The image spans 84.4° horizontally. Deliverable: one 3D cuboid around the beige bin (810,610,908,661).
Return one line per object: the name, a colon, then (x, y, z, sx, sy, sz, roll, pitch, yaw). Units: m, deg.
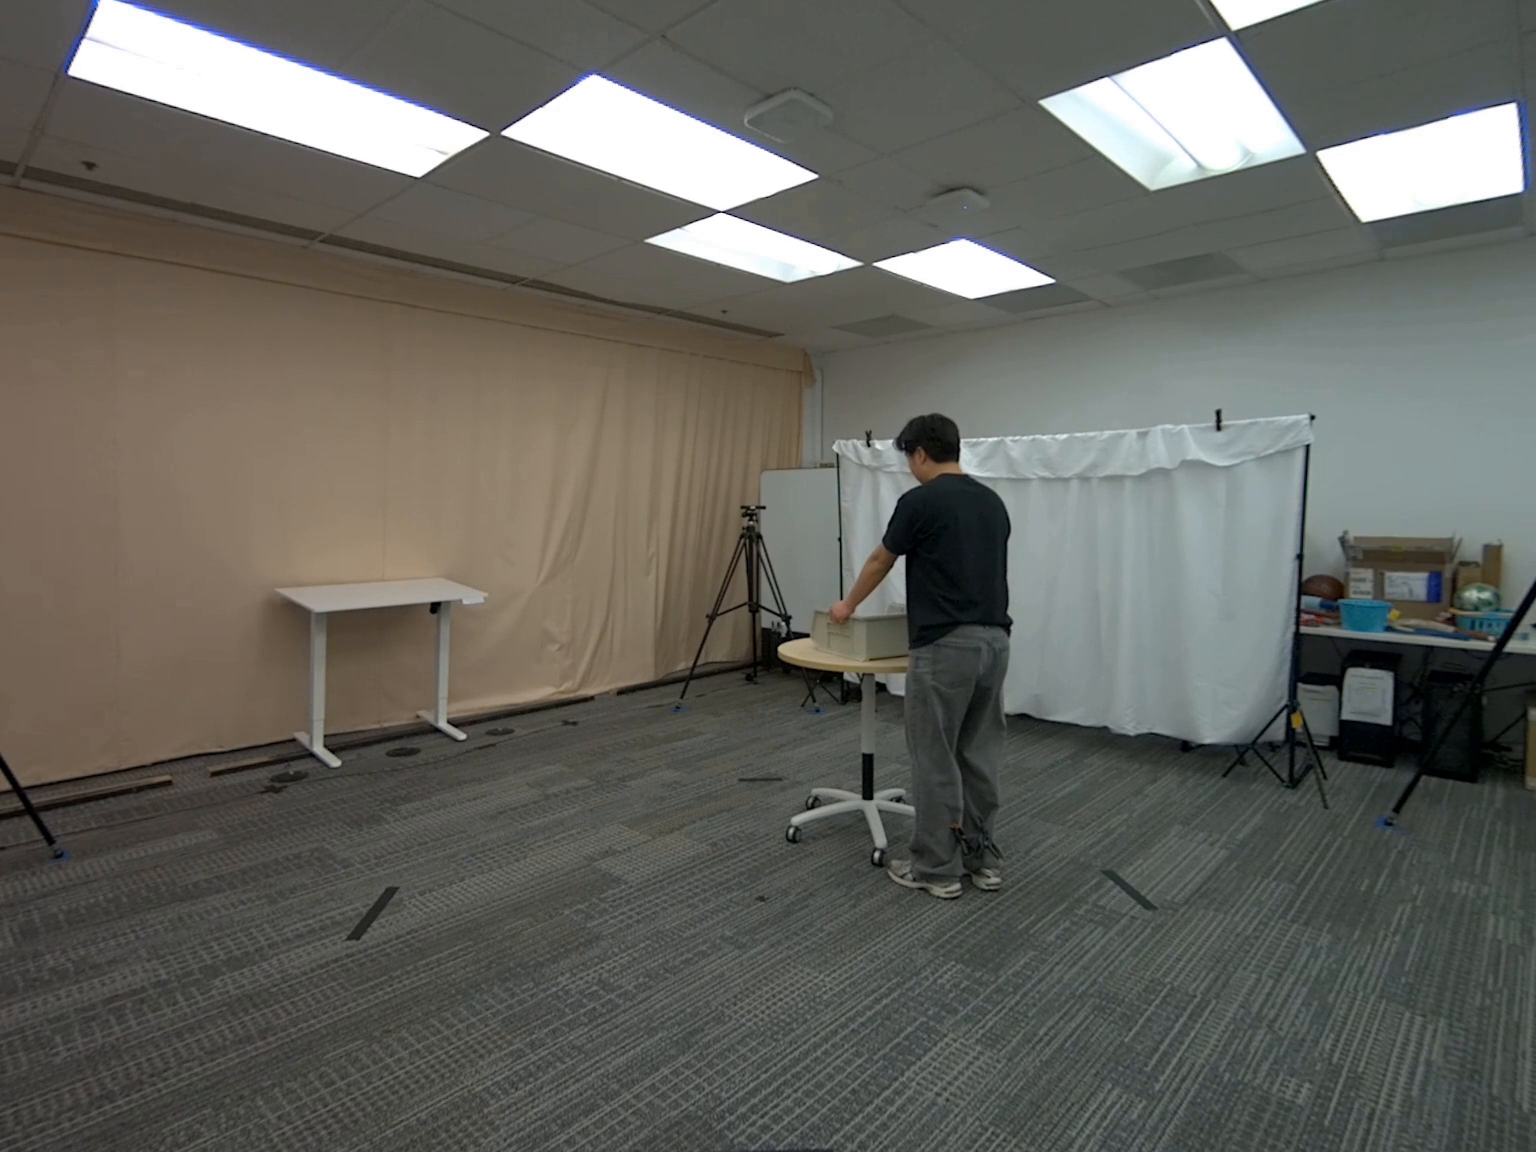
beige bin: (0.454, 0.224, 3.520, 0.411, 0.188, 0.388, -2, 5, -29)
